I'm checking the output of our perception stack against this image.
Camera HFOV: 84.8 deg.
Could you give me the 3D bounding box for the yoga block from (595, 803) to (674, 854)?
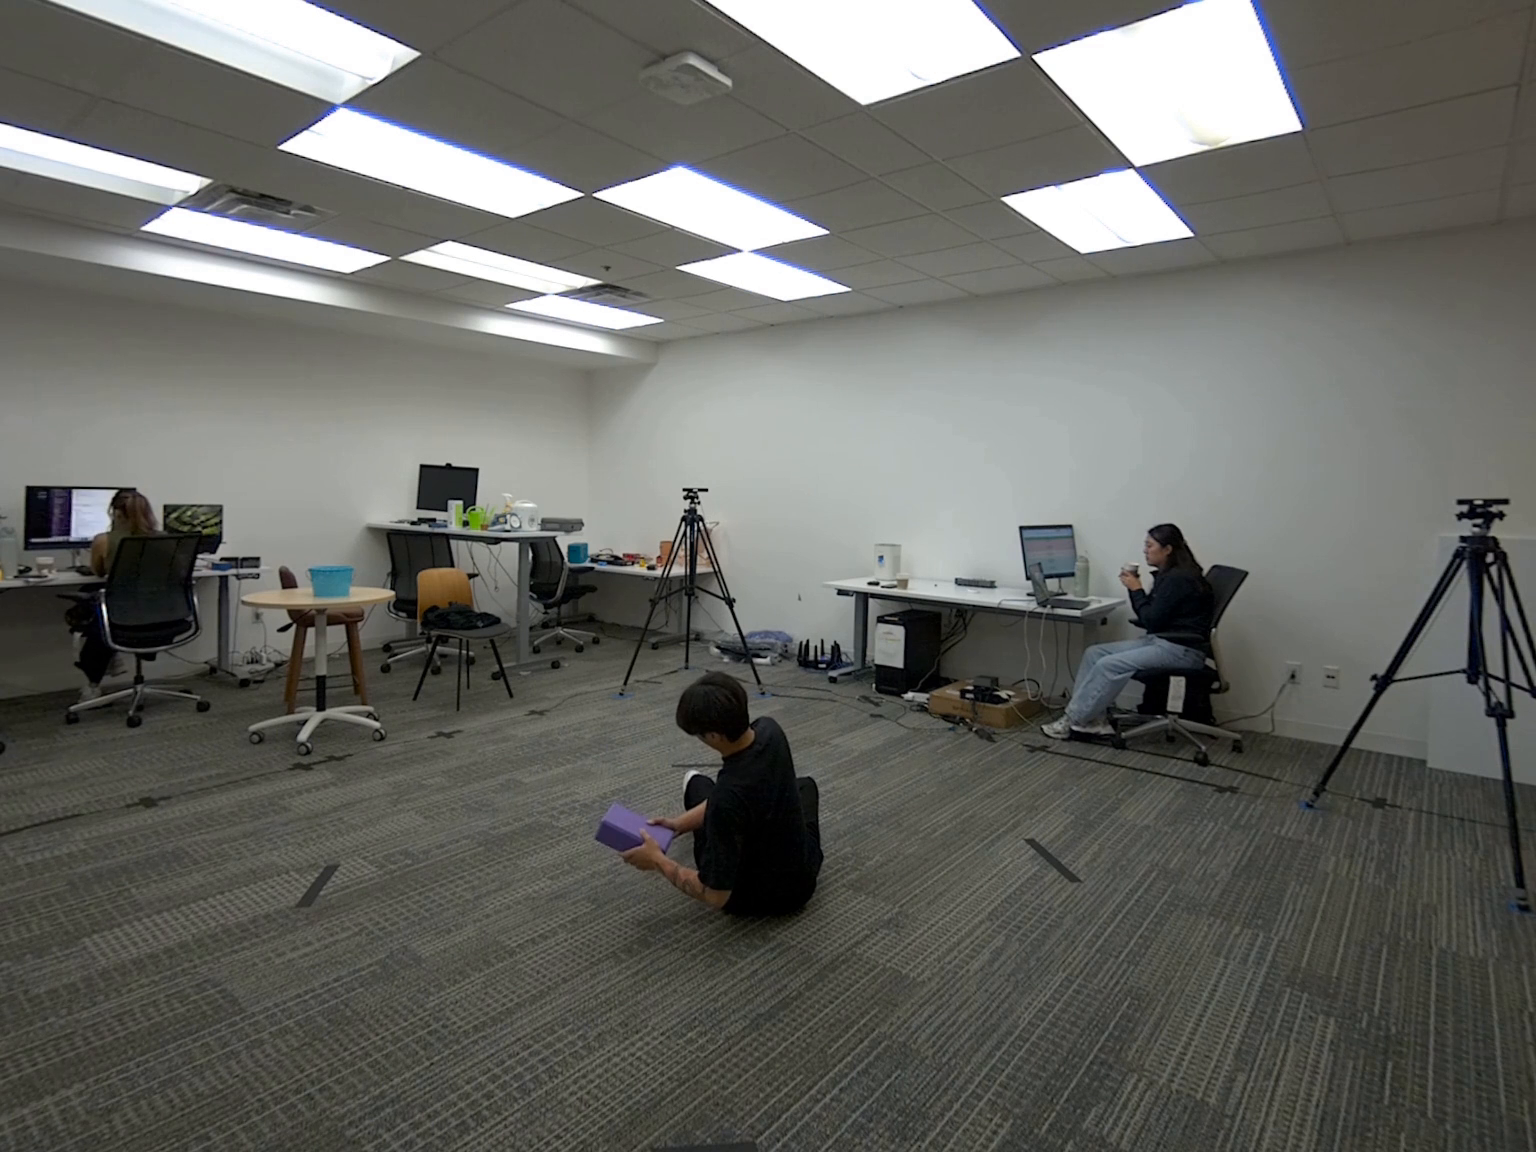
[{"bbox_3d":[-0.428,0.841,2.761,0.231,0.076,0.149,22,12,3],"label":"yoga block"}]
